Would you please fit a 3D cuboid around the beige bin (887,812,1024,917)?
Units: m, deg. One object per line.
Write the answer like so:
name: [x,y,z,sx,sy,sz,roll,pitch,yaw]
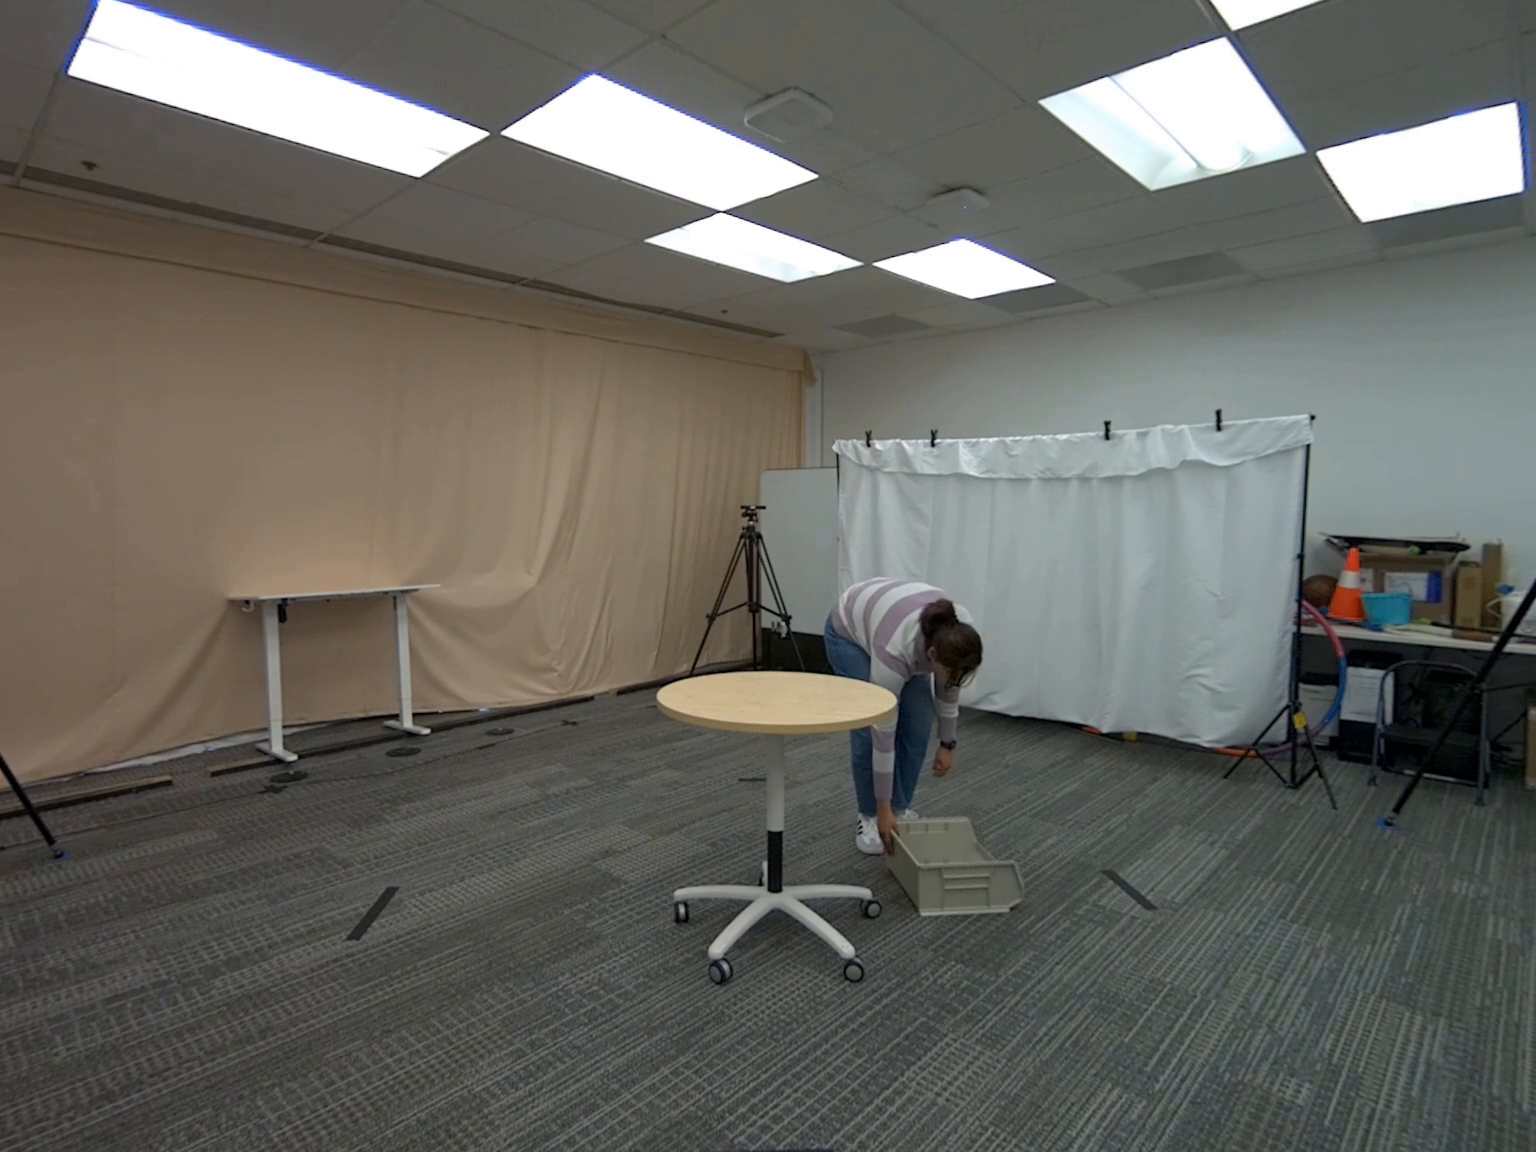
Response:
beige bin: [0.667,1.043,3.064,0.375,0.188,0.427,-2,6,-7]
